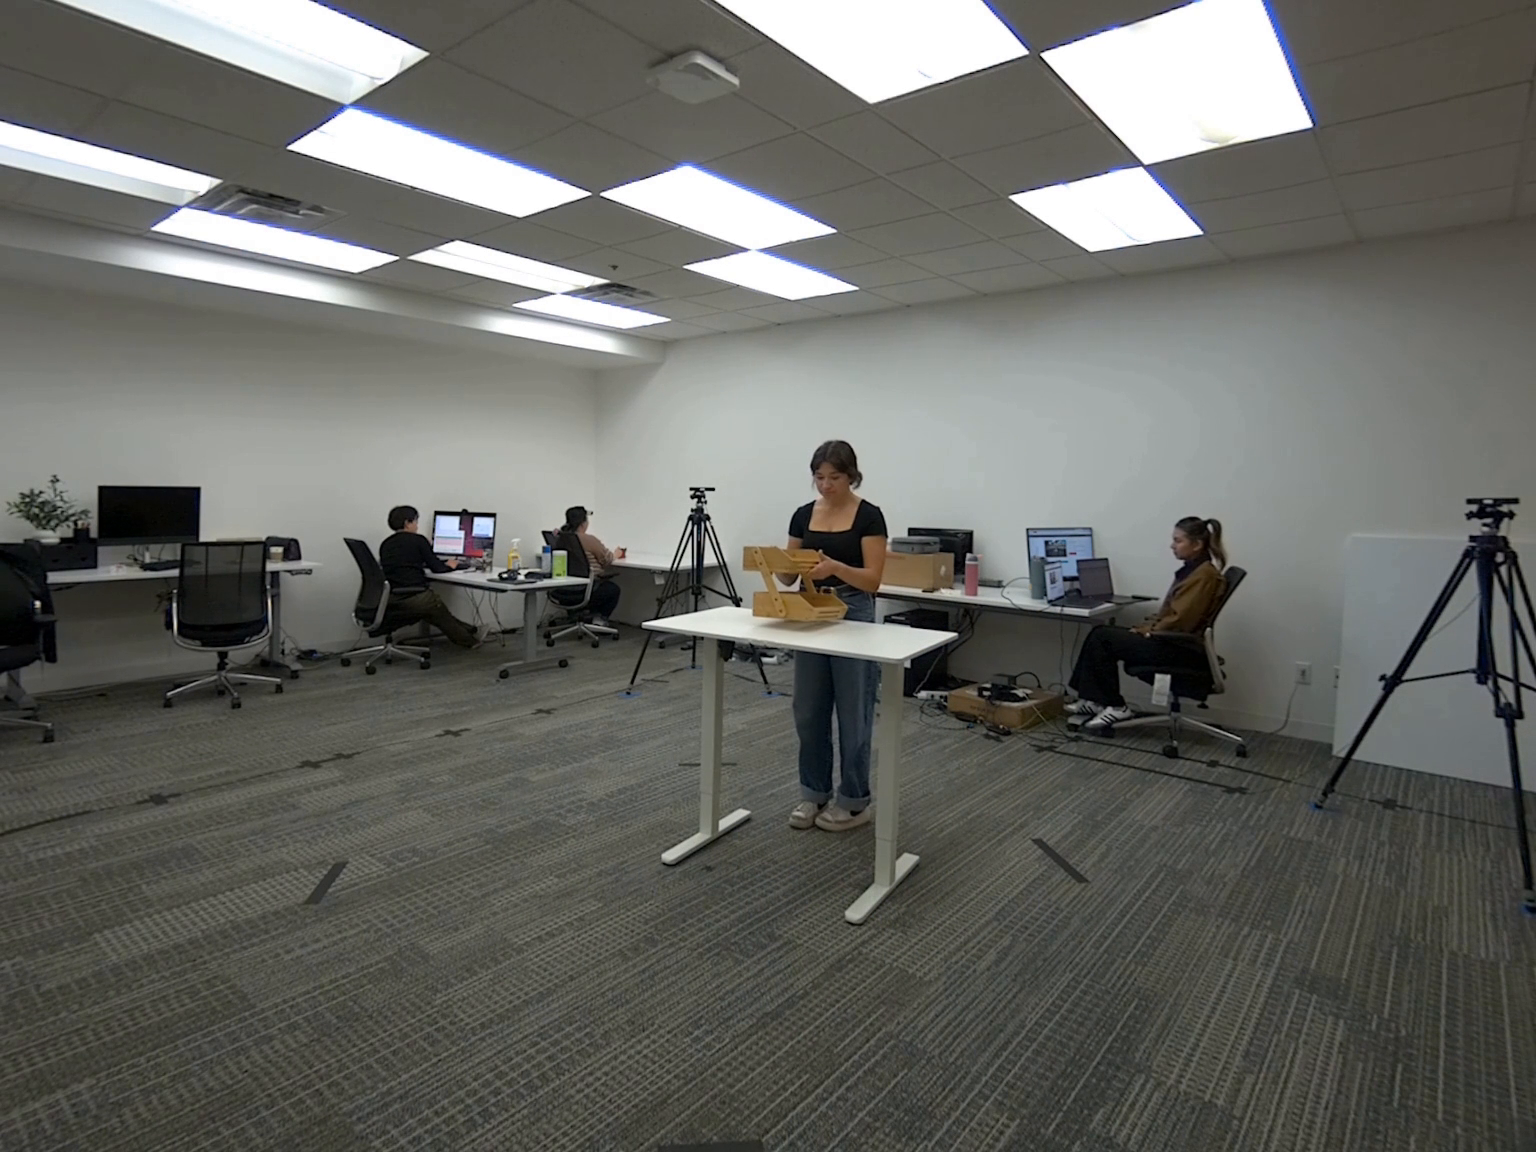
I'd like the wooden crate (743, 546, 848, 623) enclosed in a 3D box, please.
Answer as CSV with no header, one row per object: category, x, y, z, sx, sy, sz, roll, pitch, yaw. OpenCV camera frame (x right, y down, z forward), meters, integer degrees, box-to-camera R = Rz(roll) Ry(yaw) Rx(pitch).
wooden crate,0.099,0.019,3.235,0.311,0.274,0.314,2,-1,31
